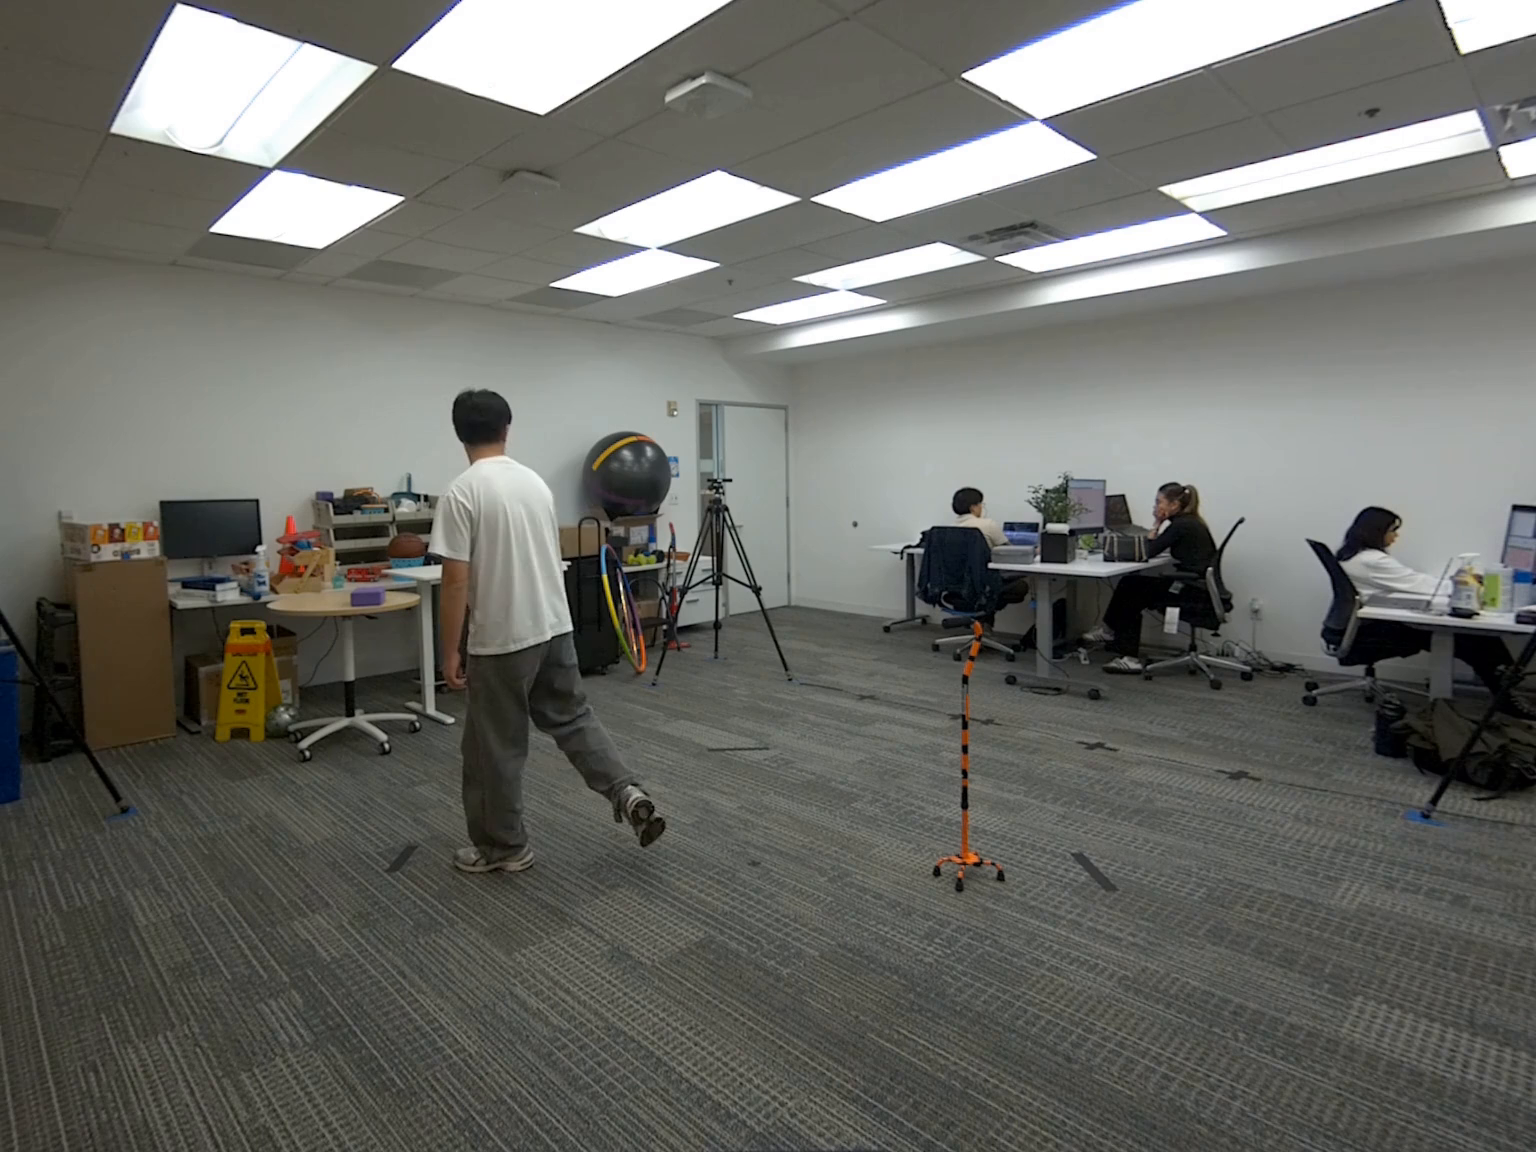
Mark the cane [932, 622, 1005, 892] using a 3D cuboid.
[{"bbox_3d":[0.694,0.590,2.937,0.202,0.905,0.155,-2,4,-26],"label":"cane"}]
